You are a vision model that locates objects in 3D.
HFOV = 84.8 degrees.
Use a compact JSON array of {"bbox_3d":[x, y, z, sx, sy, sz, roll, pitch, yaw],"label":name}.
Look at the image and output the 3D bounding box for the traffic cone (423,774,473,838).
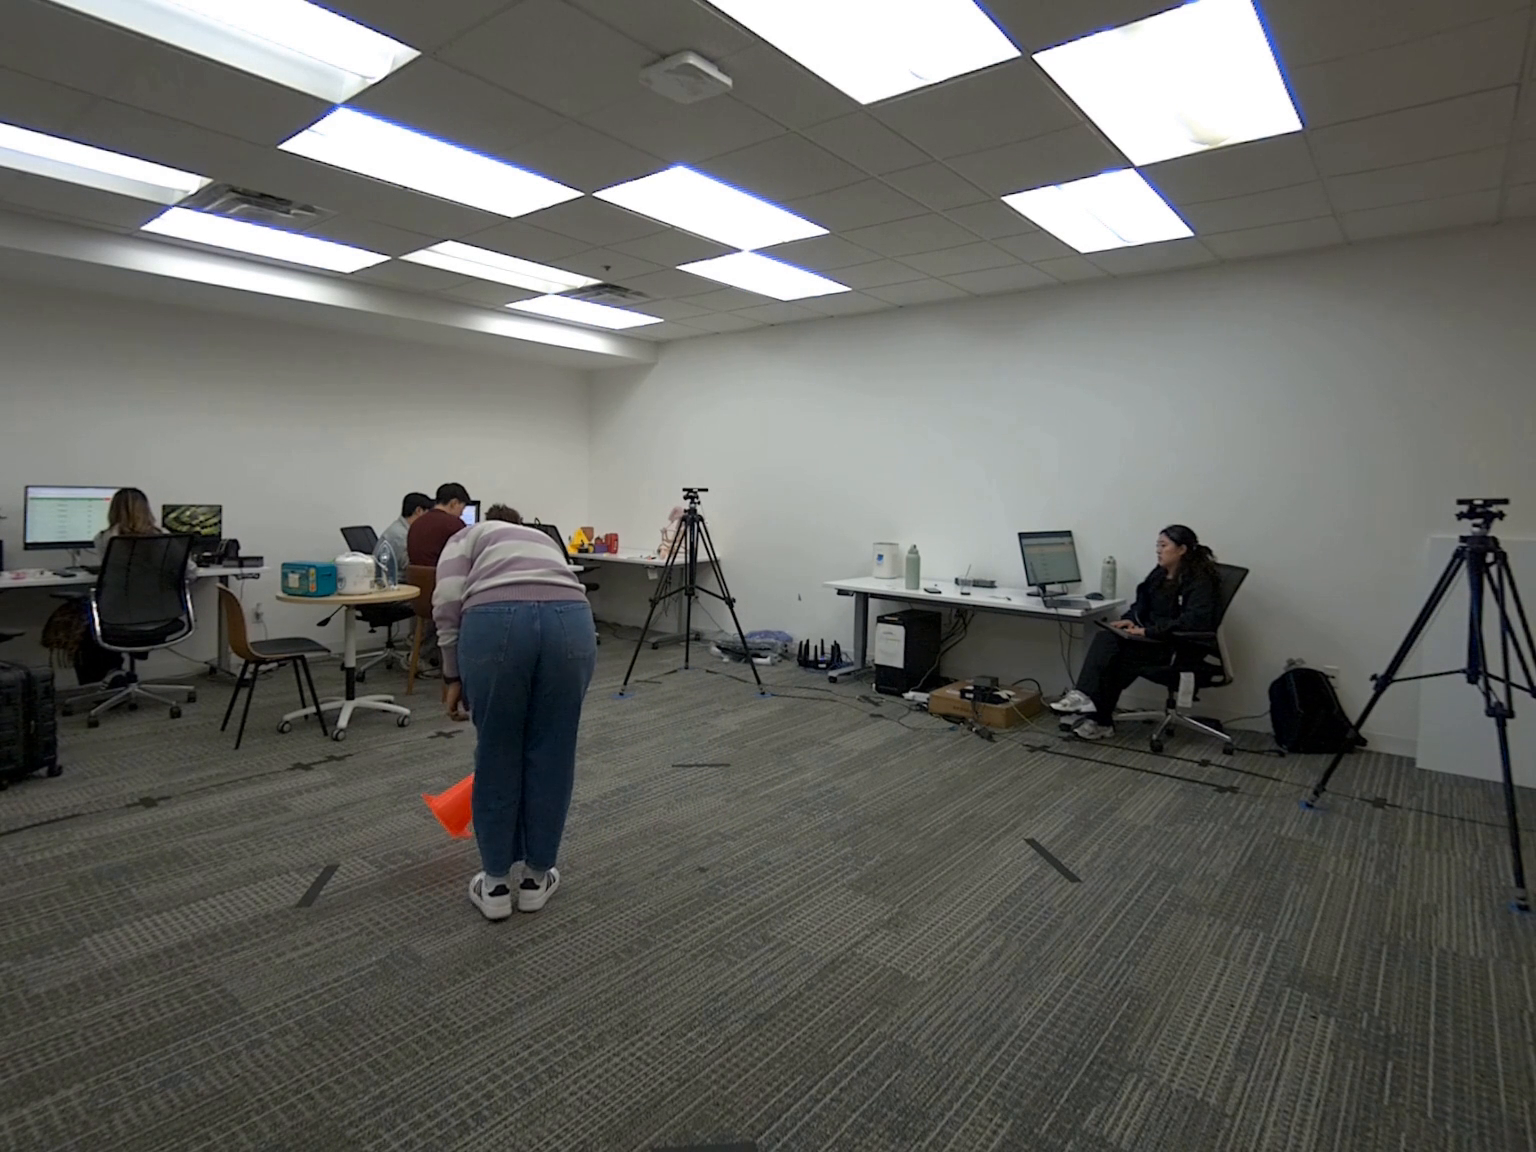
[{"bbox_3d":[-1.051,0.751,3.131,0.211,0.383,0.198,43,-10,20],"label":"traffic cone"}]
